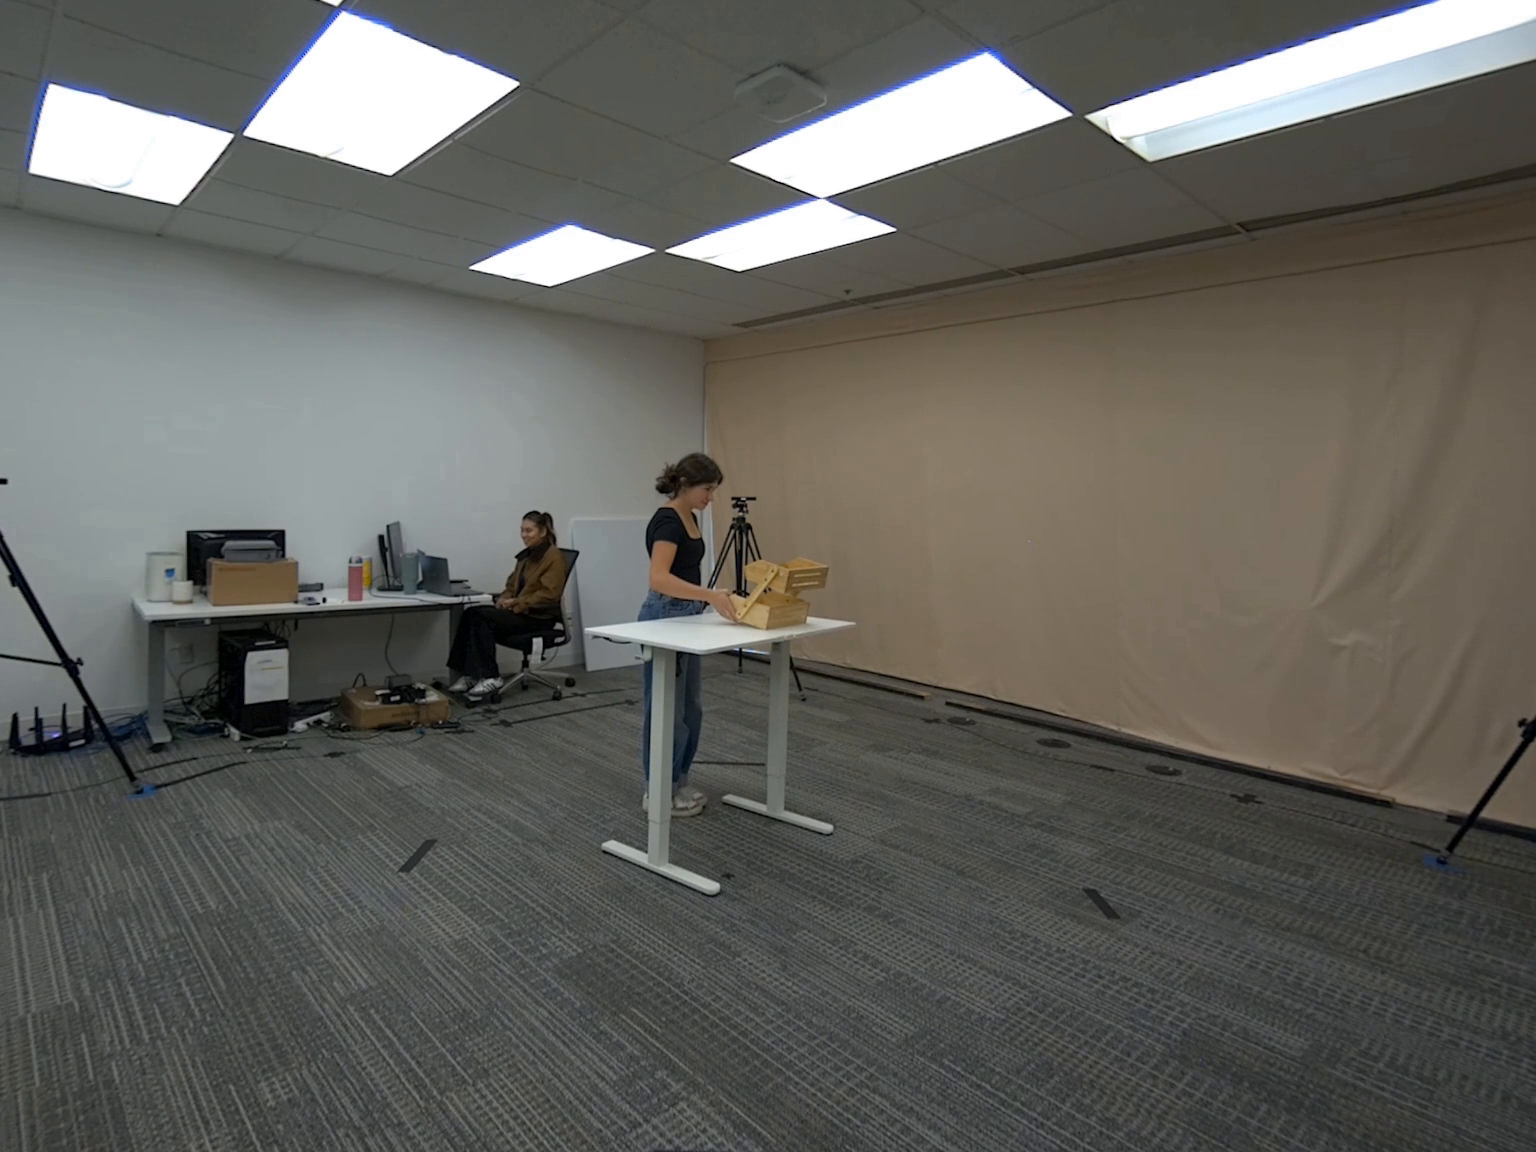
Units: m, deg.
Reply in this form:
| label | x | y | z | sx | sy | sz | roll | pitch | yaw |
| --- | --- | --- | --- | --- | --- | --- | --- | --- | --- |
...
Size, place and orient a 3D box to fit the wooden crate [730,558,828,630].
| label | x | y | z | sx | sy | sz | roll | pitch | yaw |
| --- | --- | --- | --- | --- | --- | --- | --- | --- | --- |
| wooden crate | 0.013 | 0.052 | 3.449 | 0.310 | 0.272 | 0.317 | 17 | 12 | 33 |
